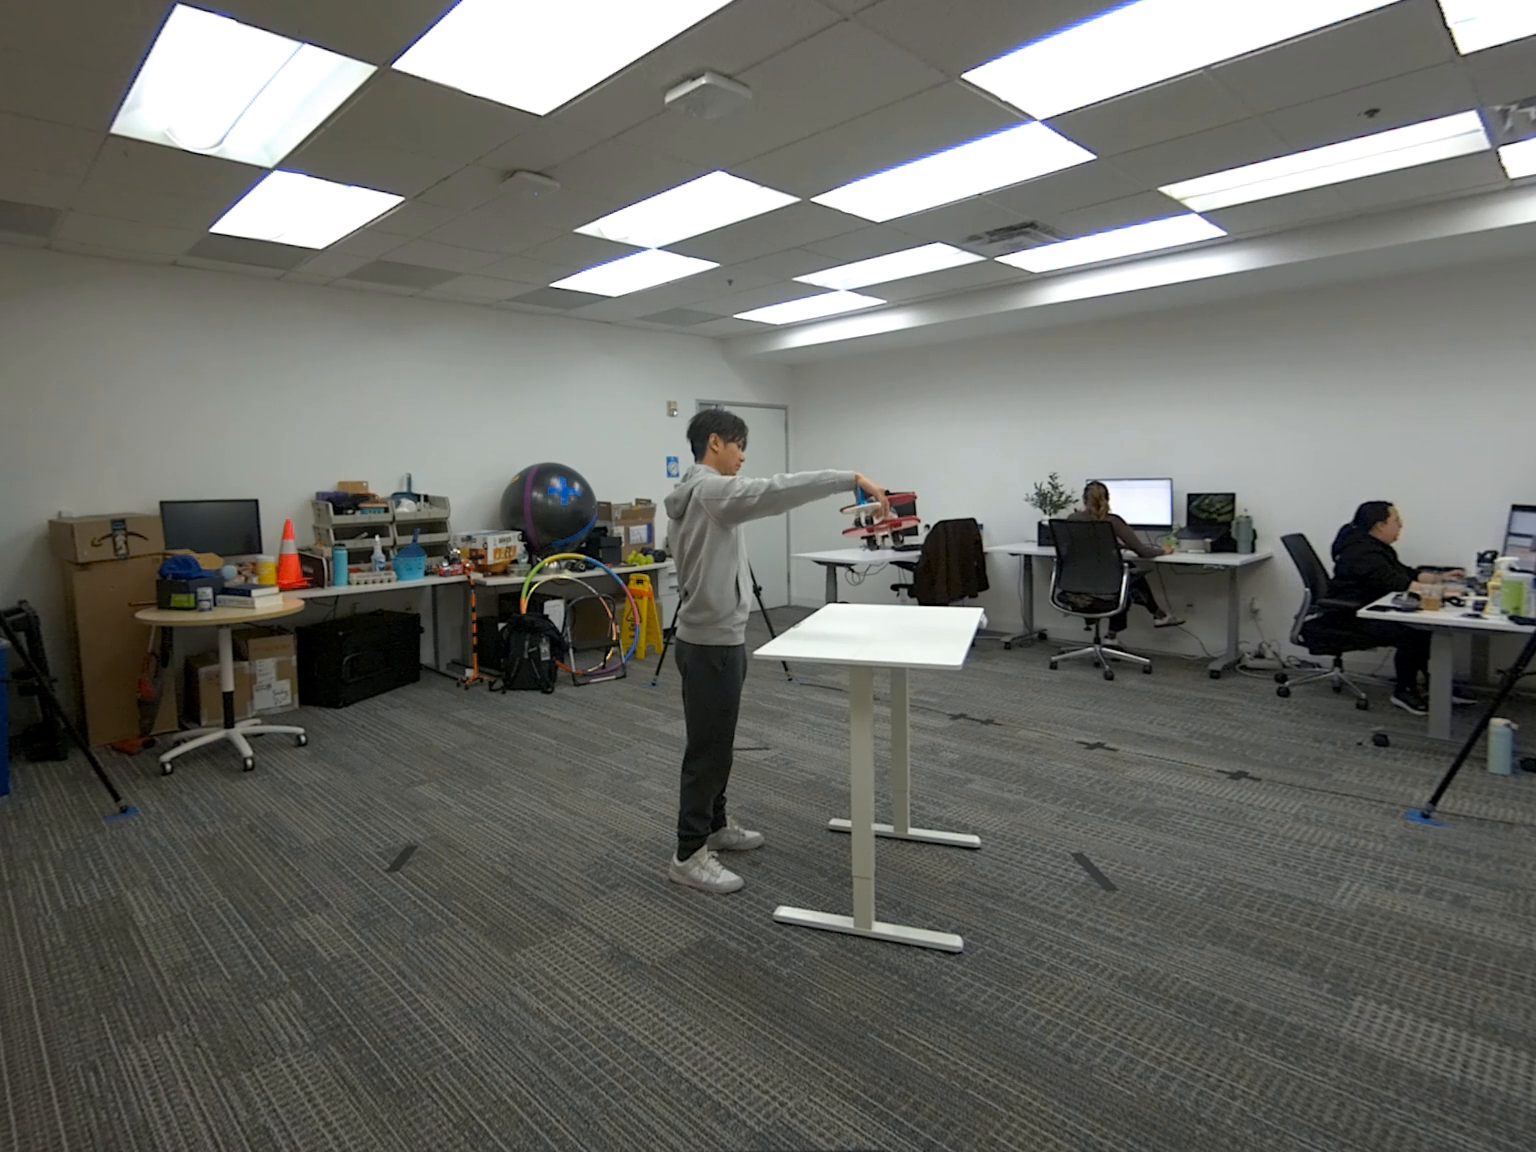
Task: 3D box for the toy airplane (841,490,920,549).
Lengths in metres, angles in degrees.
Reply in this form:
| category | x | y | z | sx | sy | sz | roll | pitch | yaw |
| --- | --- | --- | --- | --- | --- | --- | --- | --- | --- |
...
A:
| category | x | y | z | sx | sy | sz | roll | pitch | yaw |
| --- | --- | --- | --- | --- | --- | --- | --- | --- | --- |
| toy airplane | 0.359 | -0.194 | 2.721 | 0.251 | 0.159 | 0.254 | 1 | -24 | 0 |
